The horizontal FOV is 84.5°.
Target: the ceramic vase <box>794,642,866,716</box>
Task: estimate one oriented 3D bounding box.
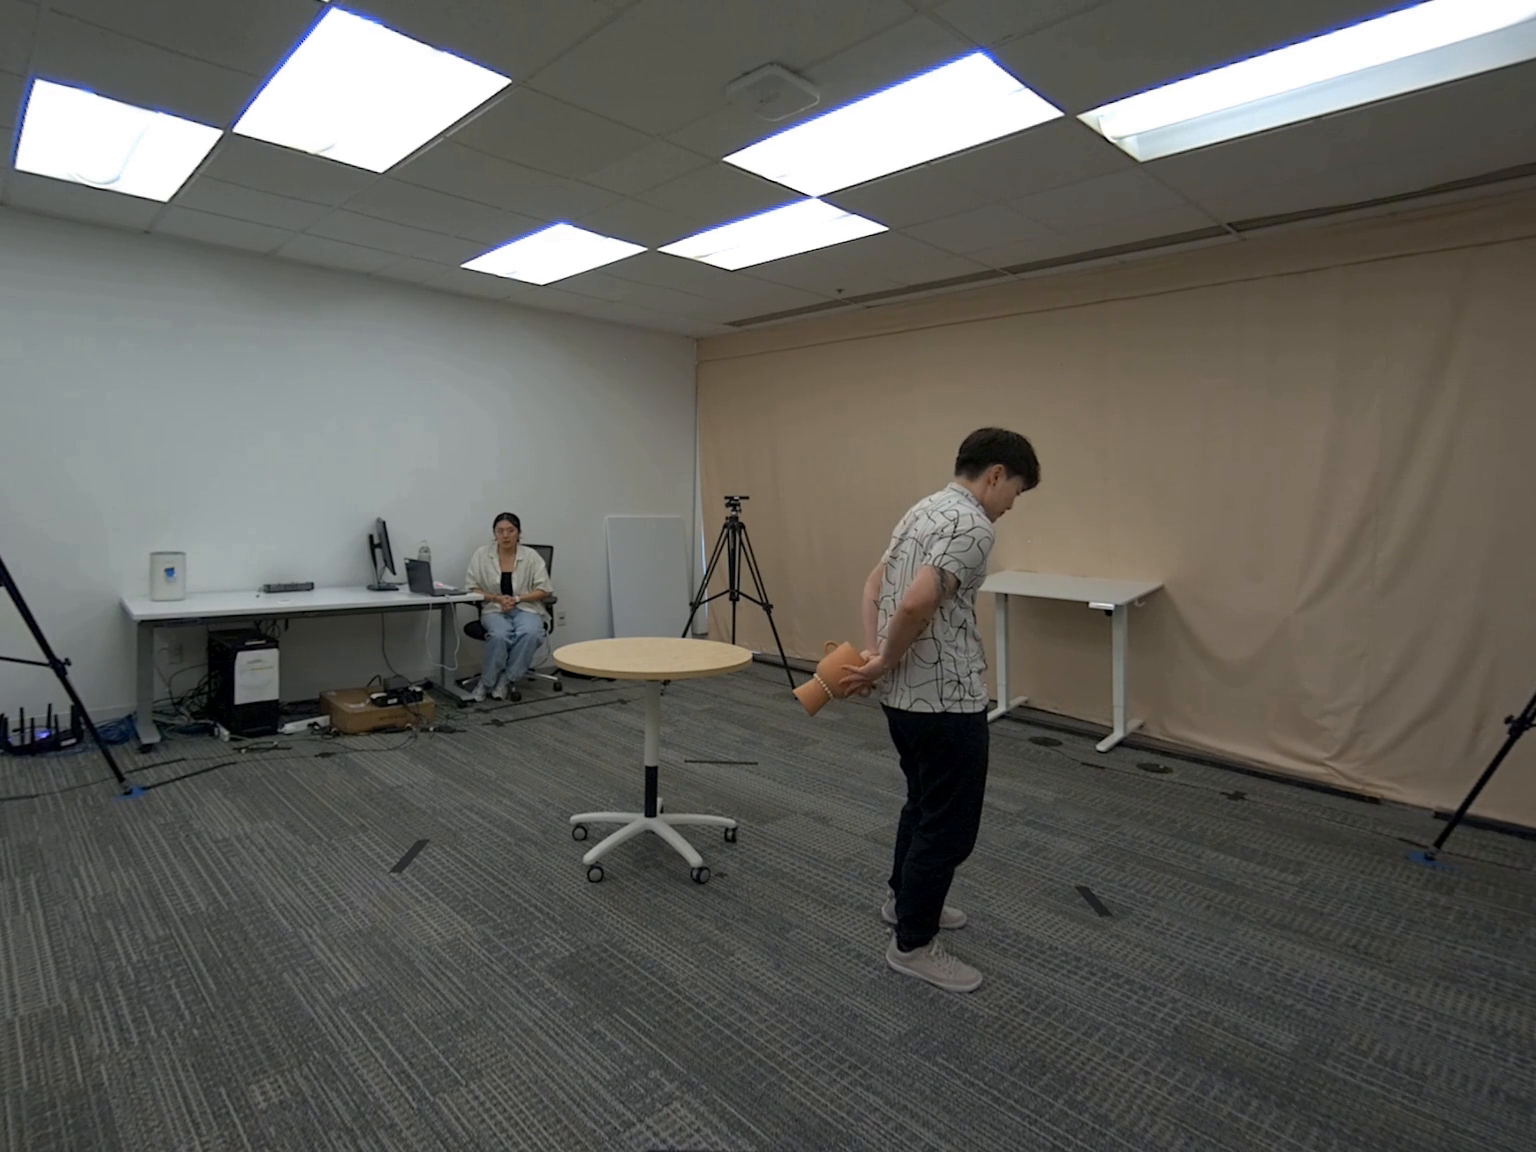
[{"bbox_3d":[0.182,0.318,2.491,0.219,0.130,0.164,-37,43,-3],"label":"ceramic vase"}]
